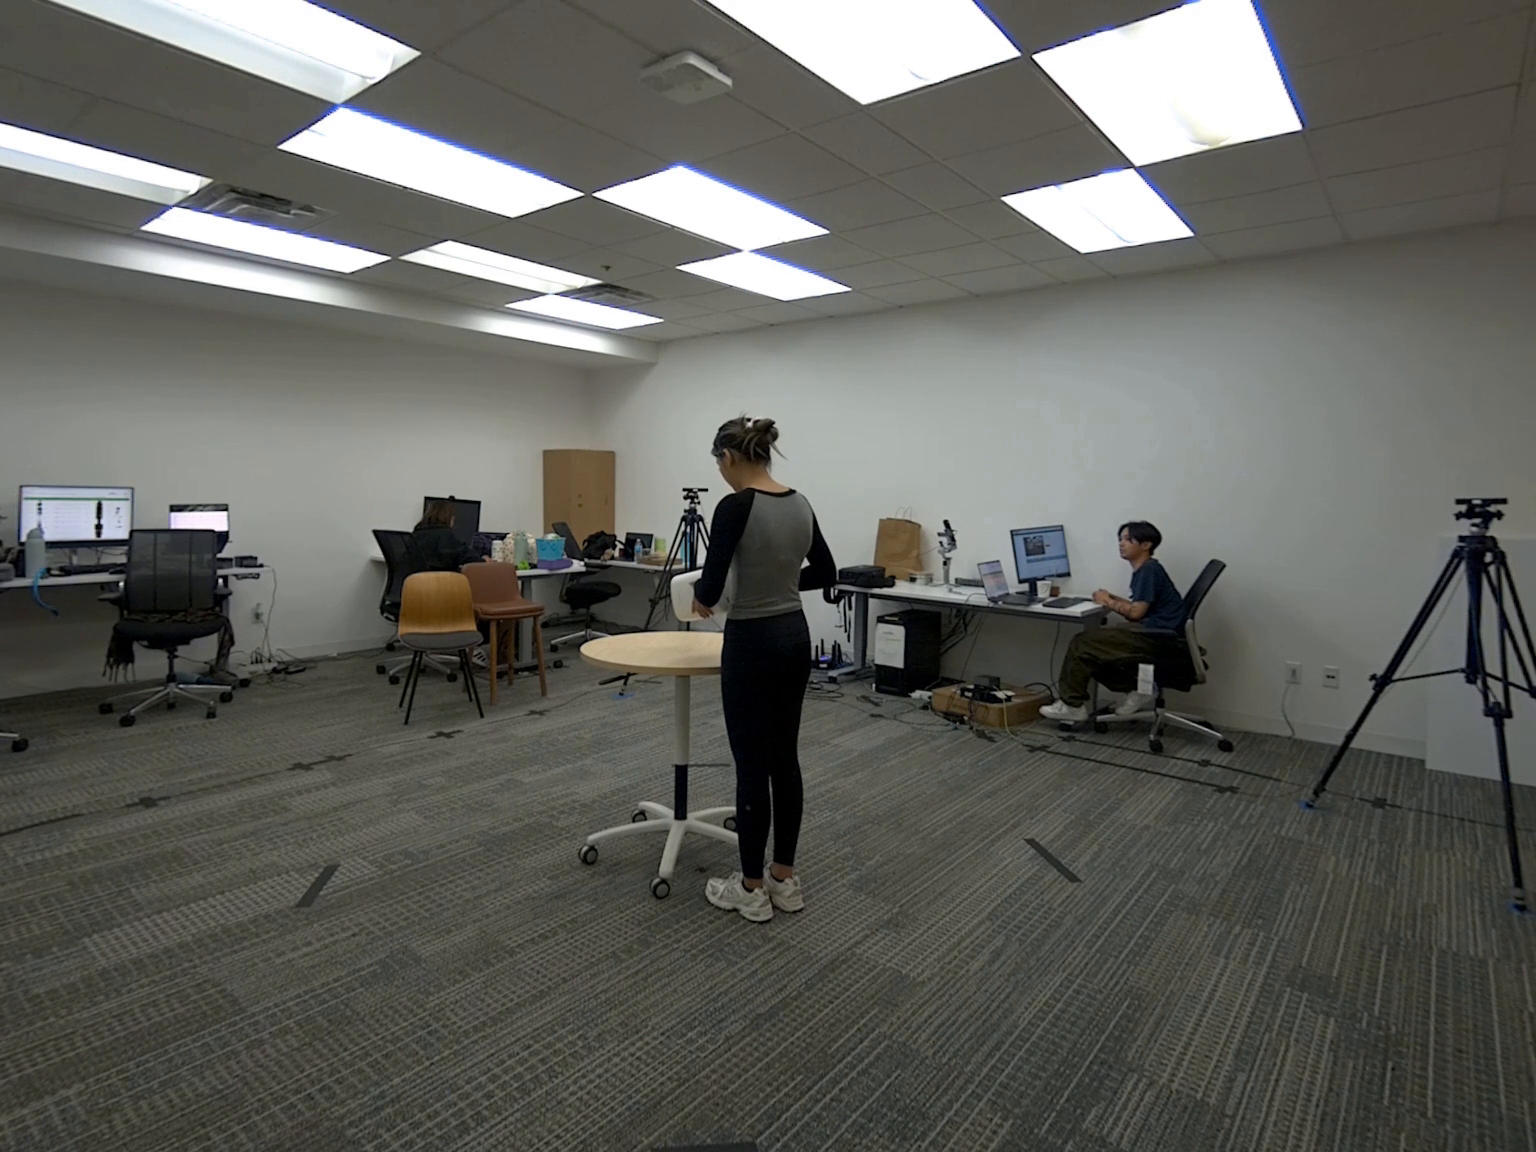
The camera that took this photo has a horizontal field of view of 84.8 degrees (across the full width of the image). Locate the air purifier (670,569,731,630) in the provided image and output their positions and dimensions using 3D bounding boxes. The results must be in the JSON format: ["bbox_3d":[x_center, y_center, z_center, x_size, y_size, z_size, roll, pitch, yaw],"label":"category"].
[{"bbox_3d":[-0.206,0.055,3.010,0.166,0.172,0.271,-5,-6,-40],"label":"air purifier"}]
